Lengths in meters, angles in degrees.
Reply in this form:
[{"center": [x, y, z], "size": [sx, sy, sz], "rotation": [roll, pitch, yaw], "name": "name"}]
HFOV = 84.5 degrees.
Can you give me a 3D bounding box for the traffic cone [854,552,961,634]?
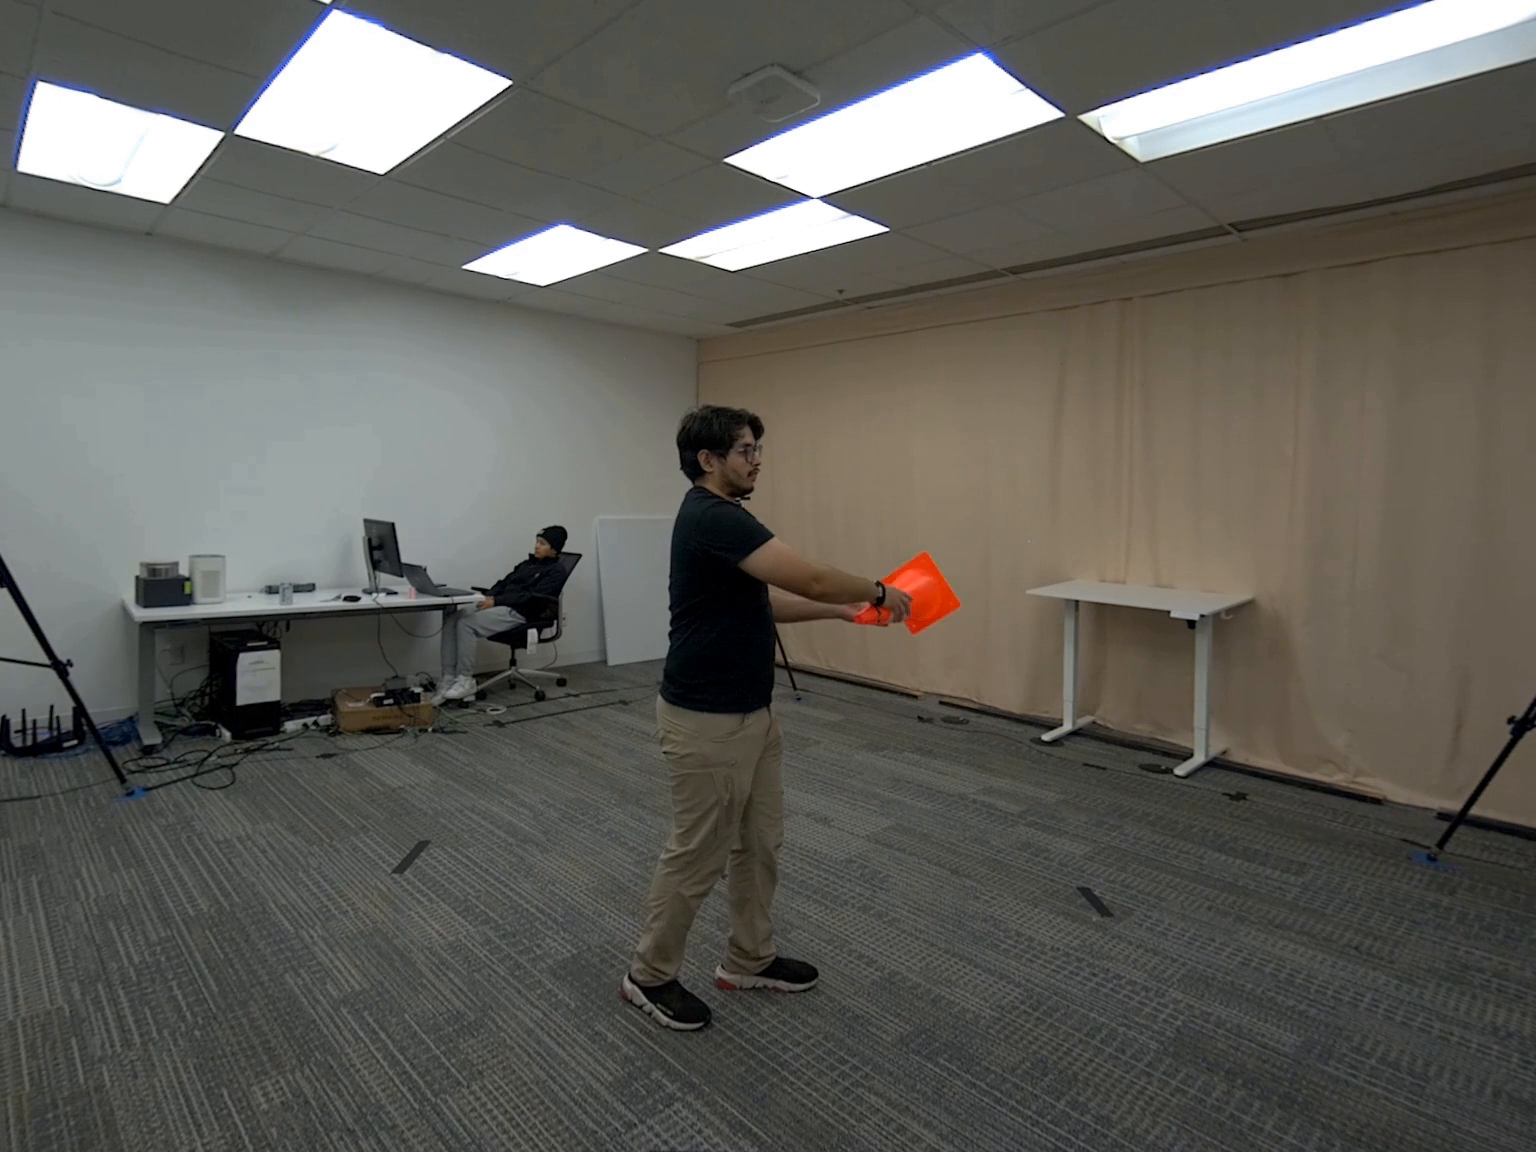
[{"center": [0.346, 0.095, 2.431], "size": [0.204, 0.207, 0.378], "rotation": [-38, -12, 38], "name": "traffic cone"}]
